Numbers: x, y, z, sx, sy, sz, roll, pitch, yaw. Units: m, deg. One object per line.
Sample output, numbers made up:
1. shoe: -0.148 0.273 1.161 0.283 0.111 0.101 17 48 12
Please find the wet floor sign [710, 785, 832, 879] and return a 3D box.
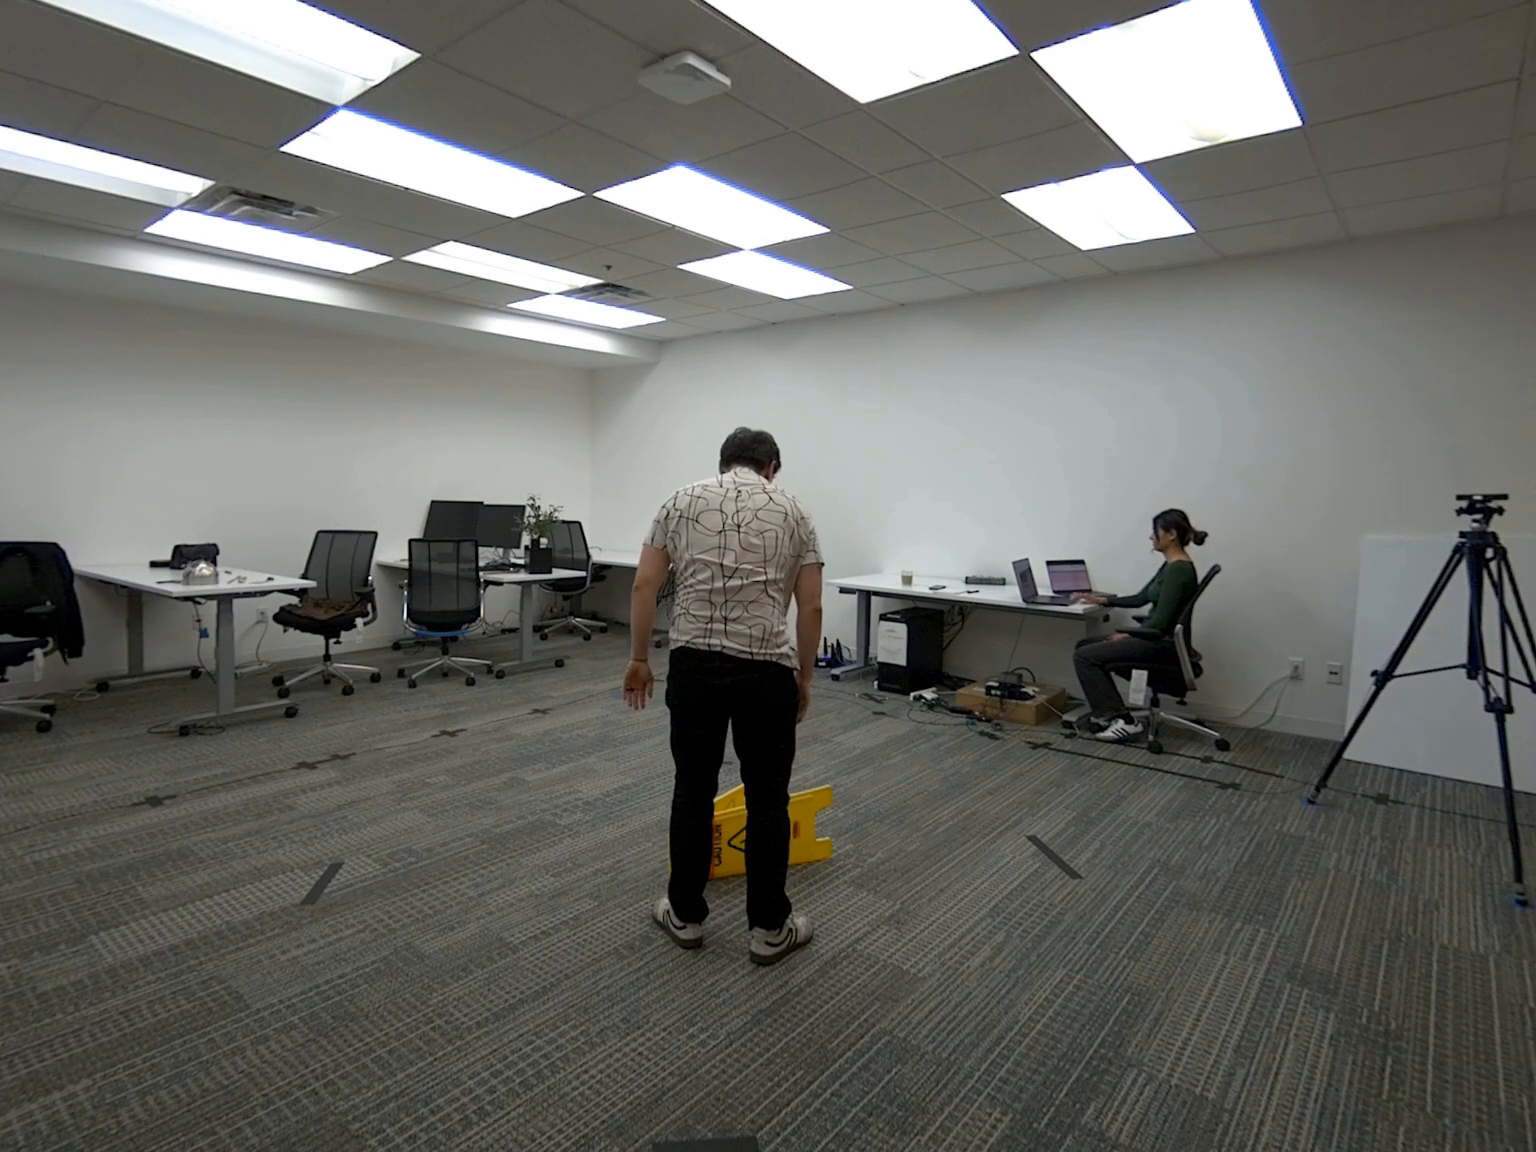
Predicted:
1. wet floor sign: -0.105 0.935 3.128 0.628 0.281 0.299 -6 7 -39
